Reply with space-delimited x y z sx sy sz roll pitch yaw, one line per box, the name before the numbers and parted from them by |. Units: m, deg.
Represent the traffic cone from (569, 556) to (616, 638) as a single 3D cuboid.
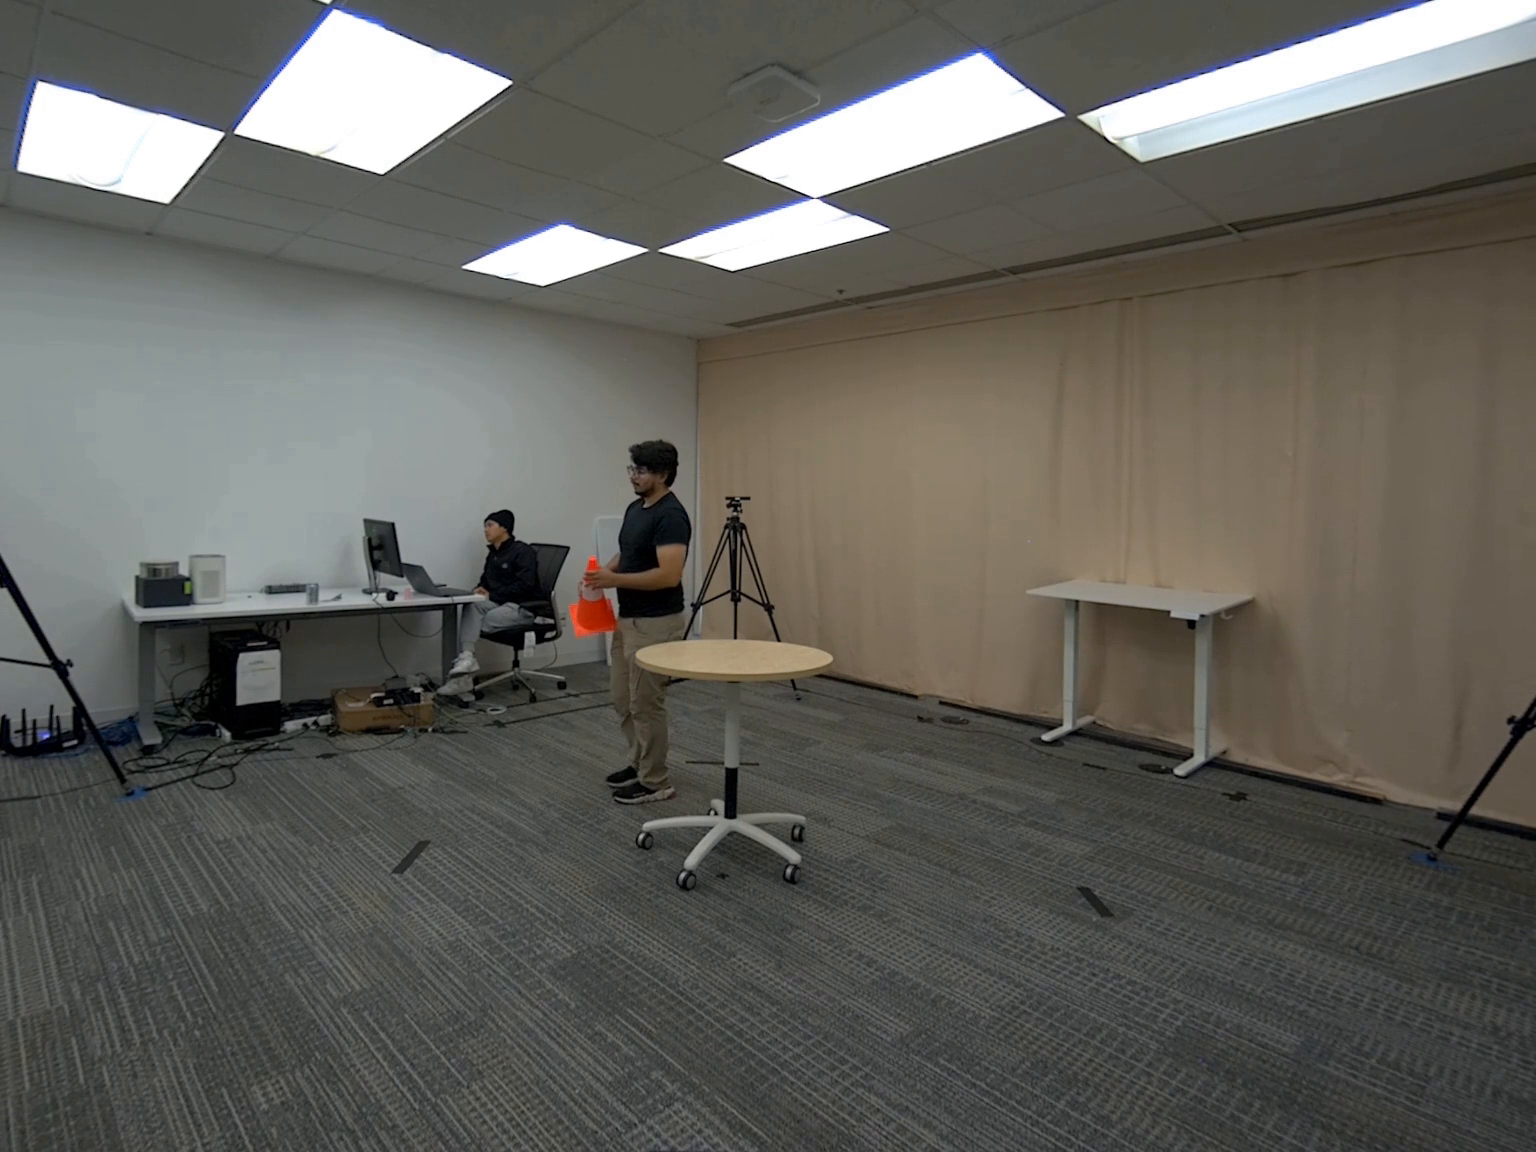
traffic cone | -0.794 0.060 3.777 0.202 0.376 0.209 -10 47 -19
